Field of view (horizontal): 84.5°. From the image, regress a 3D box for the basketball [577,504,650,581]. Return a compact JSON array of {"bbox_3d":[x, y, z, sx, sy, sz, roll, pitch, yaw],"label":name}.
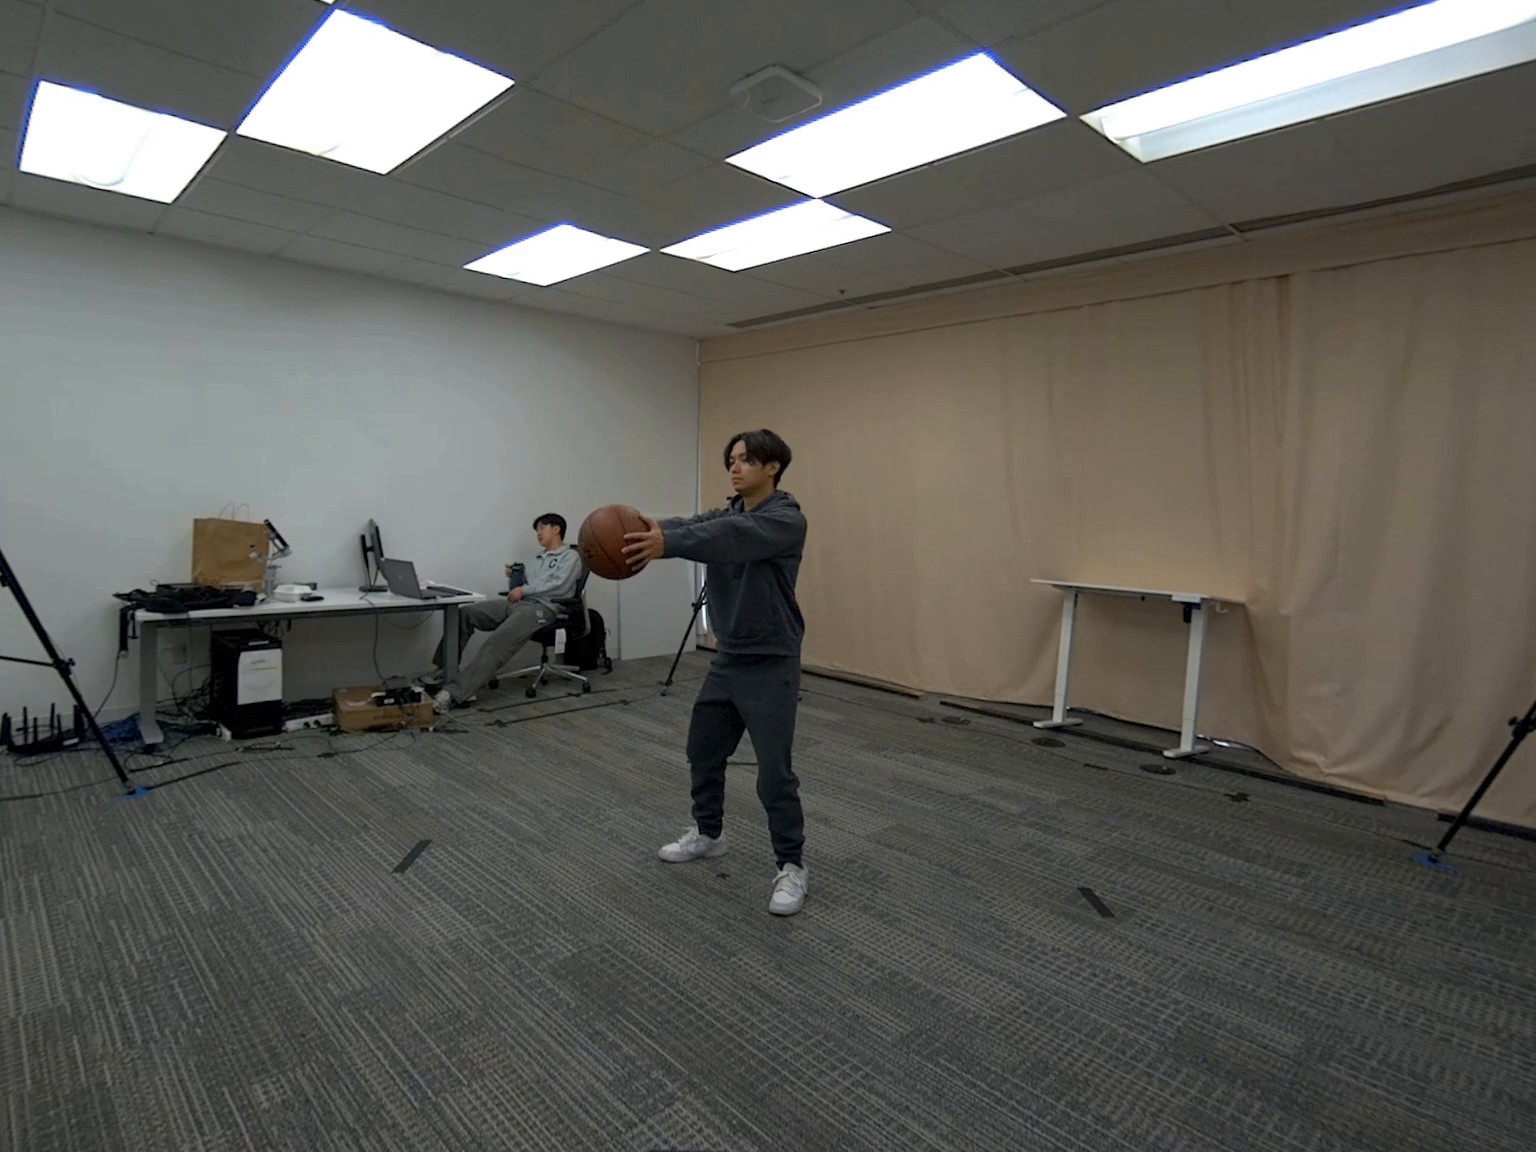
[{"bbox_3d":[-0.481,-0.101,2.641,0.236,0.235,0.237,1,4,-1],"label":"basketball"}]
